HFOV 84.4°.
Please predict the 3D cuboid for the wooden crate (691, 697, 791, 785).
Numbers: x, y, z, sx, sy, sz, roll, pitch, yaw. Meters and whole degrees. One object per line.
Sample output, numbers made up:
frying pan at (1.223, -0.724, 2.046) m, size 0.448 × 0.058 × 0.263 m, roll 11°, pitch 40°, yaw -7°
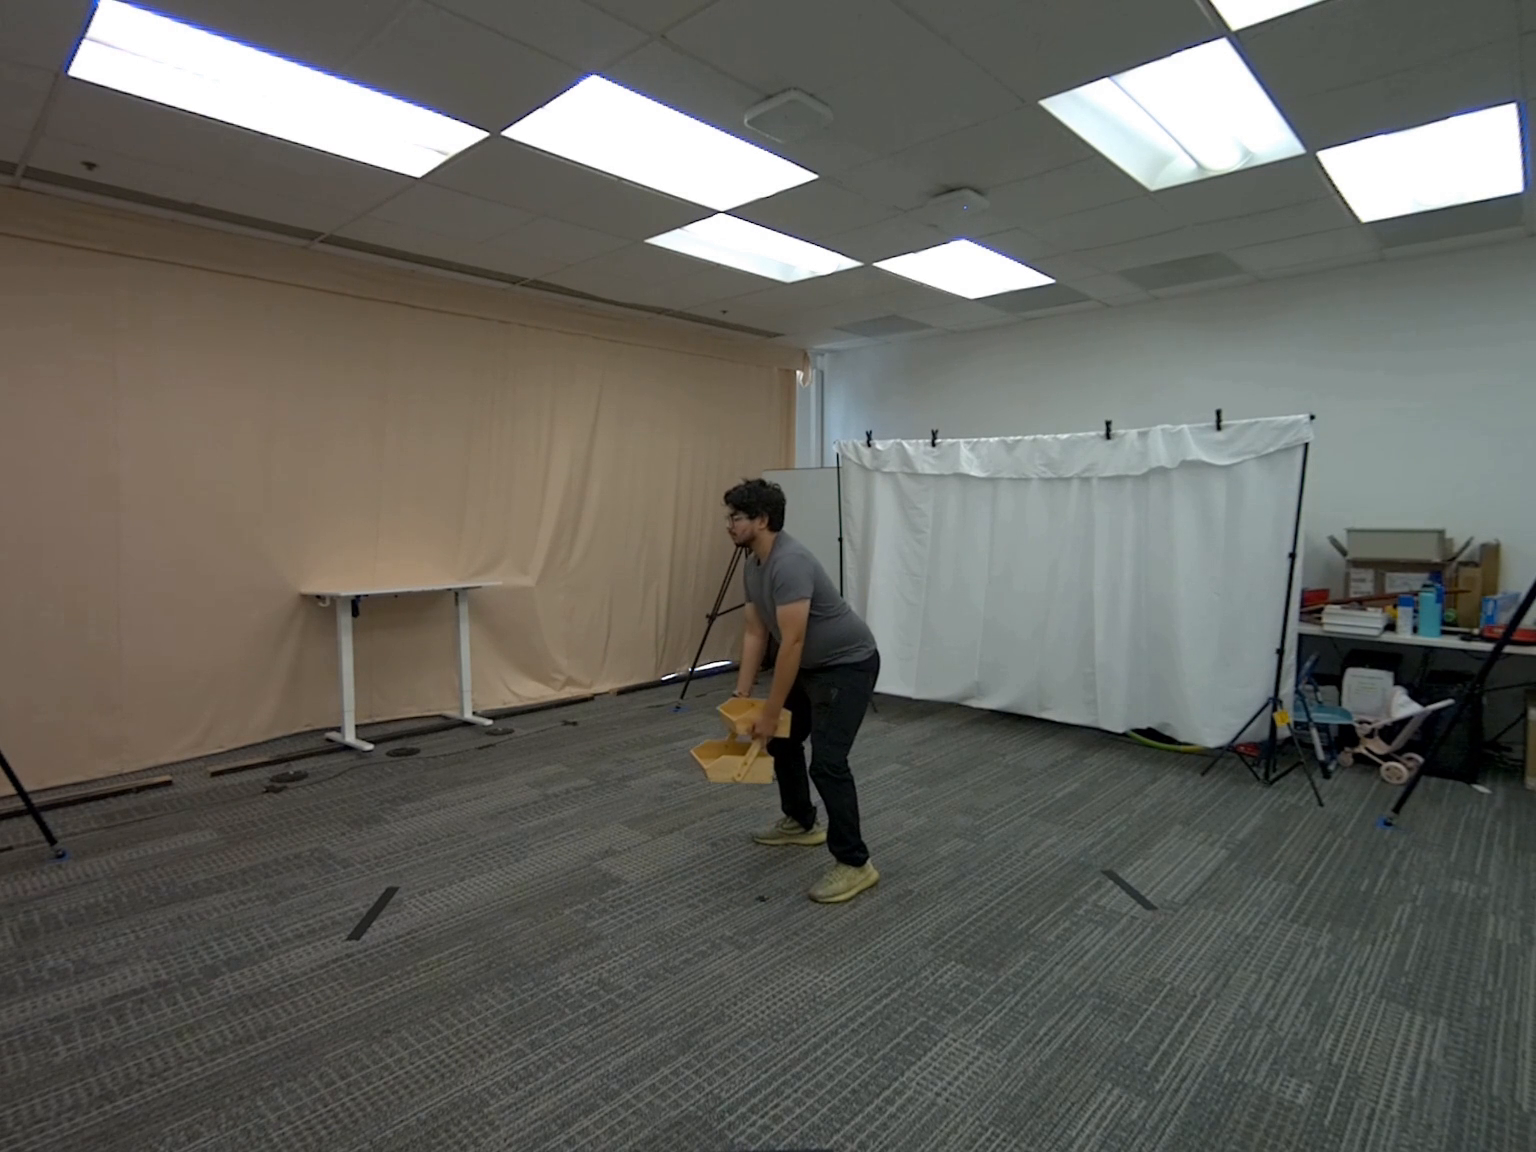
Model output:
wooden crate at (-0.104, 0.608, 3.162) m, size 0.297 × 0.274 × 0.329 m, roll 5°, pitch -2°, yaw -14°
